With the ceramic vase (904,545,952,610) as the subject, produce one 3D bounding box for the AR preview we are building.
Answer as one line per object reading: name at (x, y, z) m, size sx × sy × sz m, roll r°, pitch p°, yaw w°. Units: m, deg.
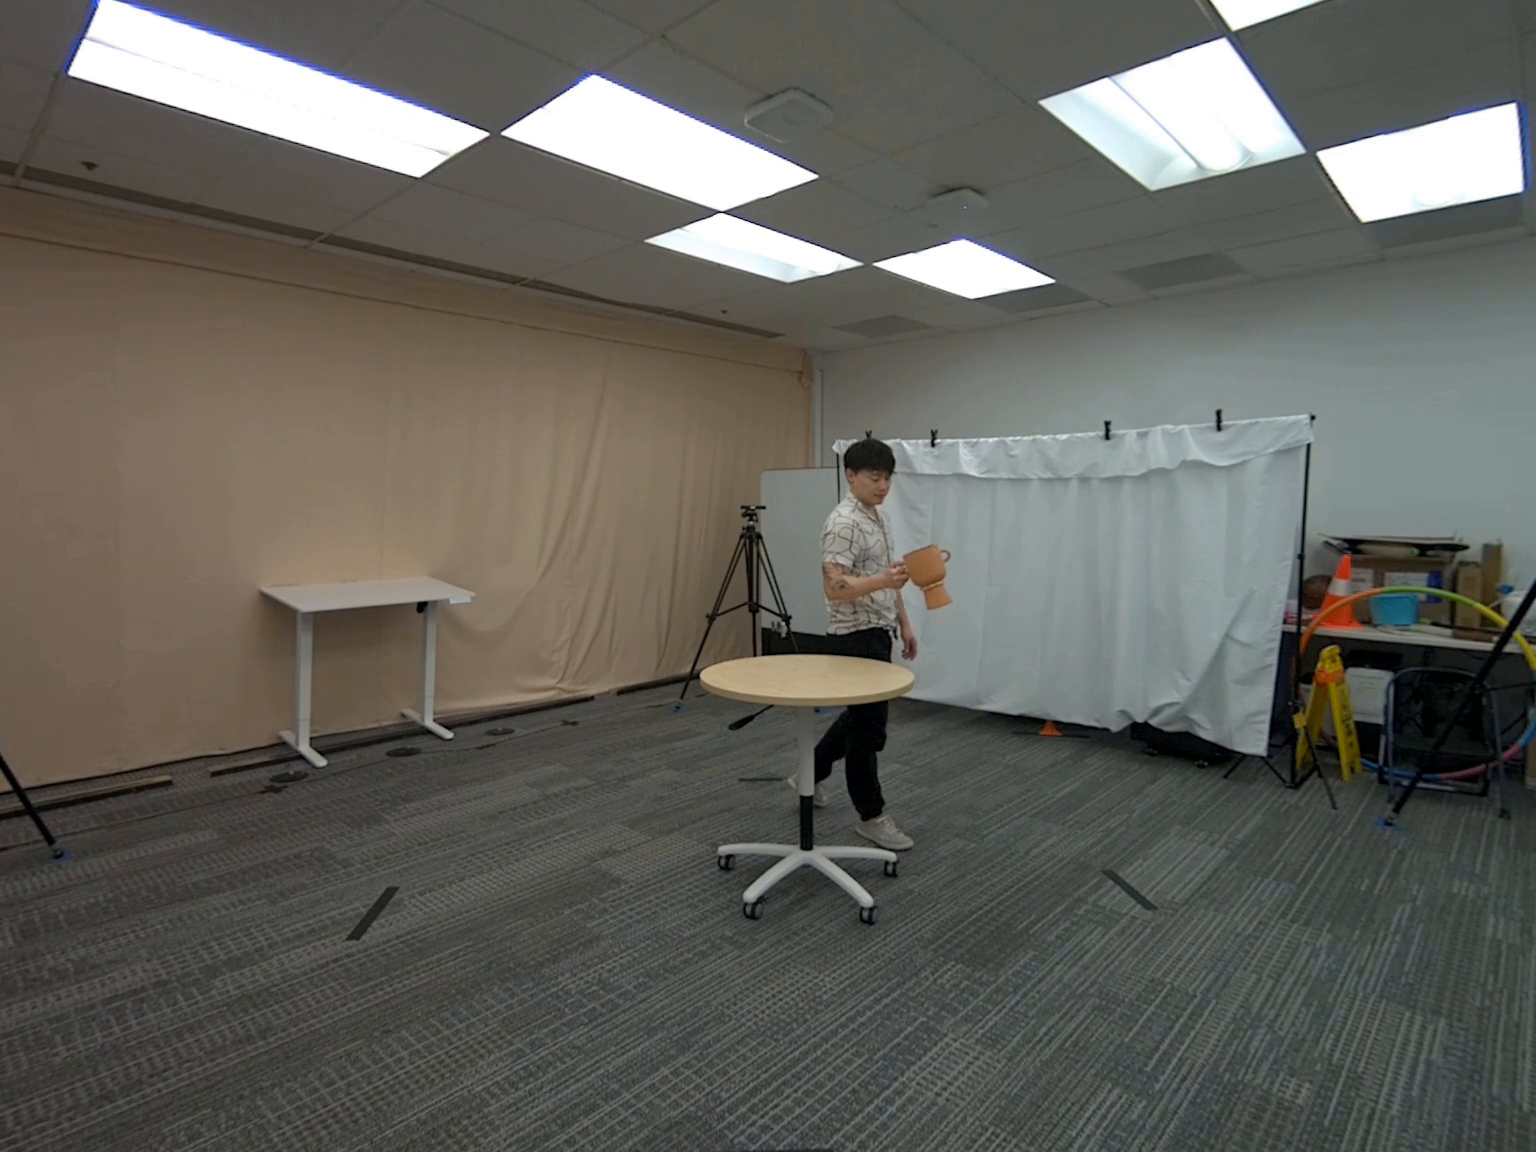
ceramic vase at (0.597, 0.007, 3.127) m, size 0.131 × 0.220 × 0.162 m, roll -15°, pitch -2°, yaw -37°
